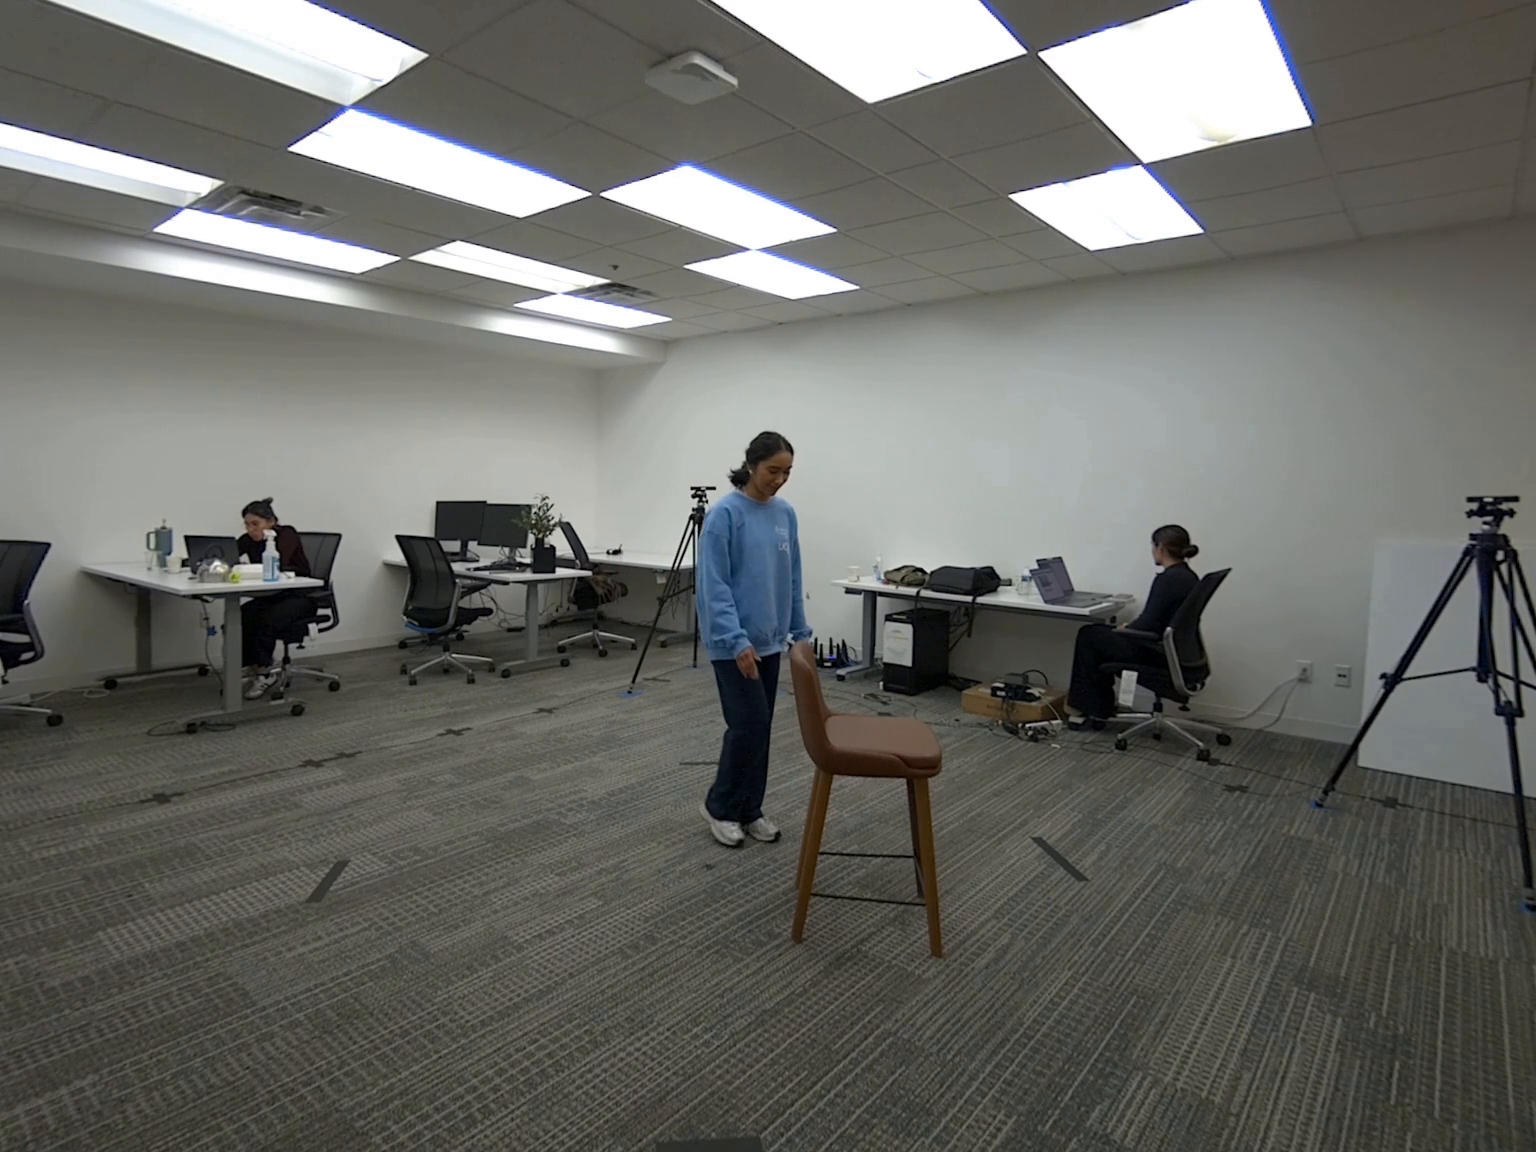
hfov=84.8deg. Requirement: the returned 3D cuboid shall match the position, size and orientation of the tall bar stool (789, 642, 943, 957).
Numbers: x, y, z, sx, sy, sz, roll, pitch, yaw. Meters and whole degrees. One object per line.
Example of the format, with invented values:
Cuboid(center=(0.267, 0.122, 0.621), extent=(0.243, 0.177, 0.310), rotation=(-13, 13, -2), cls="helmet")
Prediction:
Cuboid(center=(0.314, 0.677, 2.748), extent=(0.471, 0.888, 0.454), rotation=(1, 3, 6), cls="tall bar stool")
